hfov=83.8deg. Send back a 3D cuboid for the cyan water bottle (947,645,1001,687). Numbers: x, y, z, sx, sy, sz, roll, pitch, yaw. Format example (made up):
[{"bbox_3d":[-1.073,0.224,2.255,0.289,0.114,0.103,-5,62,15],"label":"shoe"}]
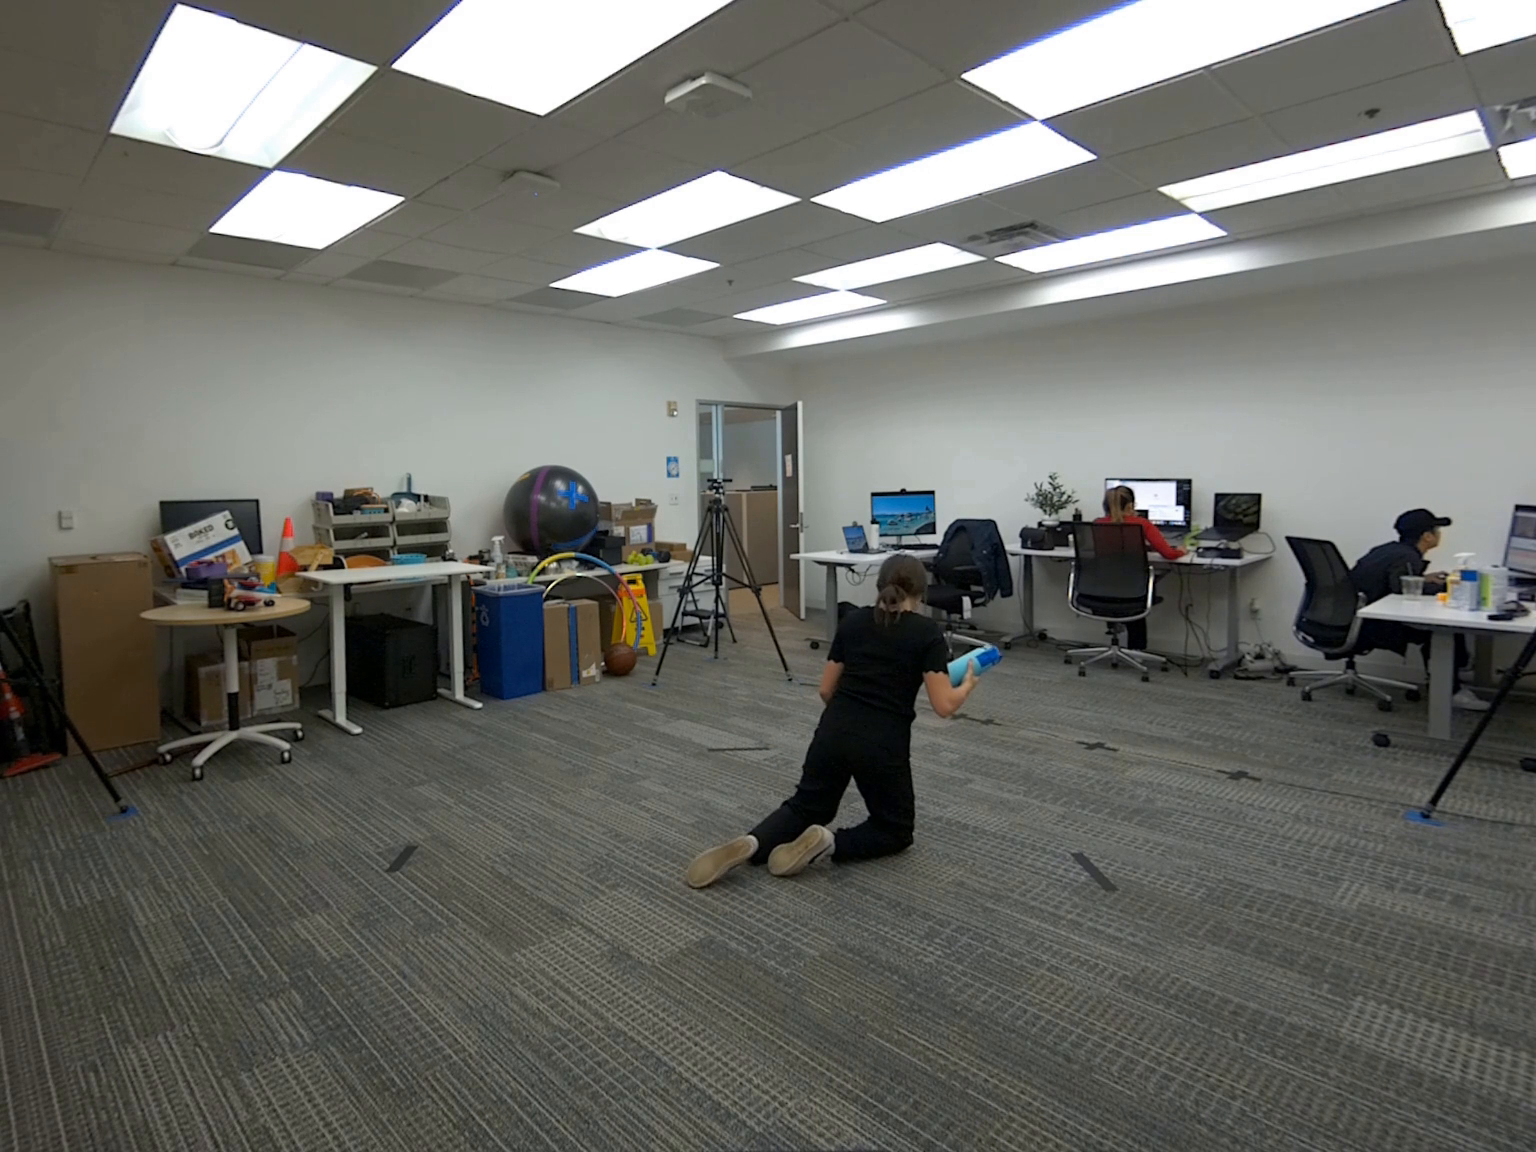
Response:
[{"bbox_3d":[0.740,0.343,3.210,0.282,0.091,0.094,-23,9,-9],"label":"cyan water bottle"}]
